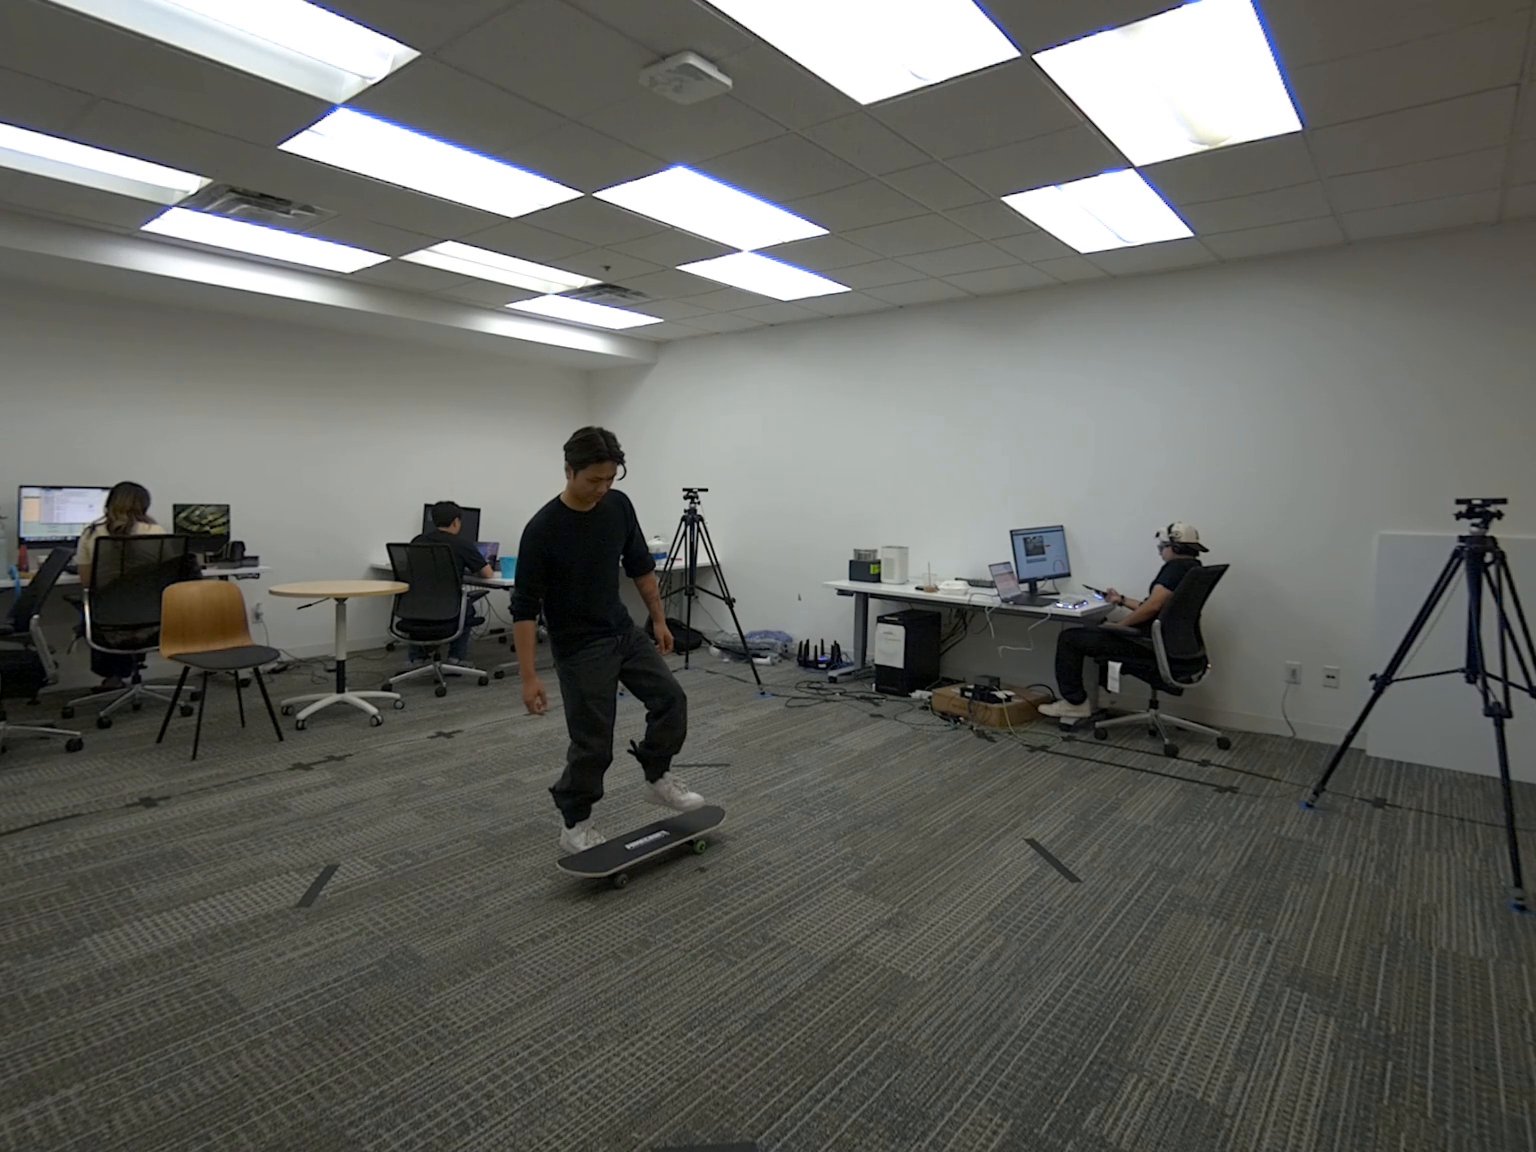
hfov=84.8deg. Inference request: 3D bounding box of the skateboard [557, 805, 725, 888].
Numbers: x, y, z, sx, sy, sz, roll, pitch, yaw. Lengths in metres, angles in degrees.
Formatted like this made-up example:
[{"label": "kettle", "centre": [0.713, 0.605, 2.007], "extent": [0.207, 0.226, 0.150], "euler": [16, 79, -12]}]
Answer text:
[{"label": "skateboard", "centre": [-0.459, 1.005, 3.149], "extent": [0.200, 0.110, 0.762], "euler": [6, 7, 40]}]
